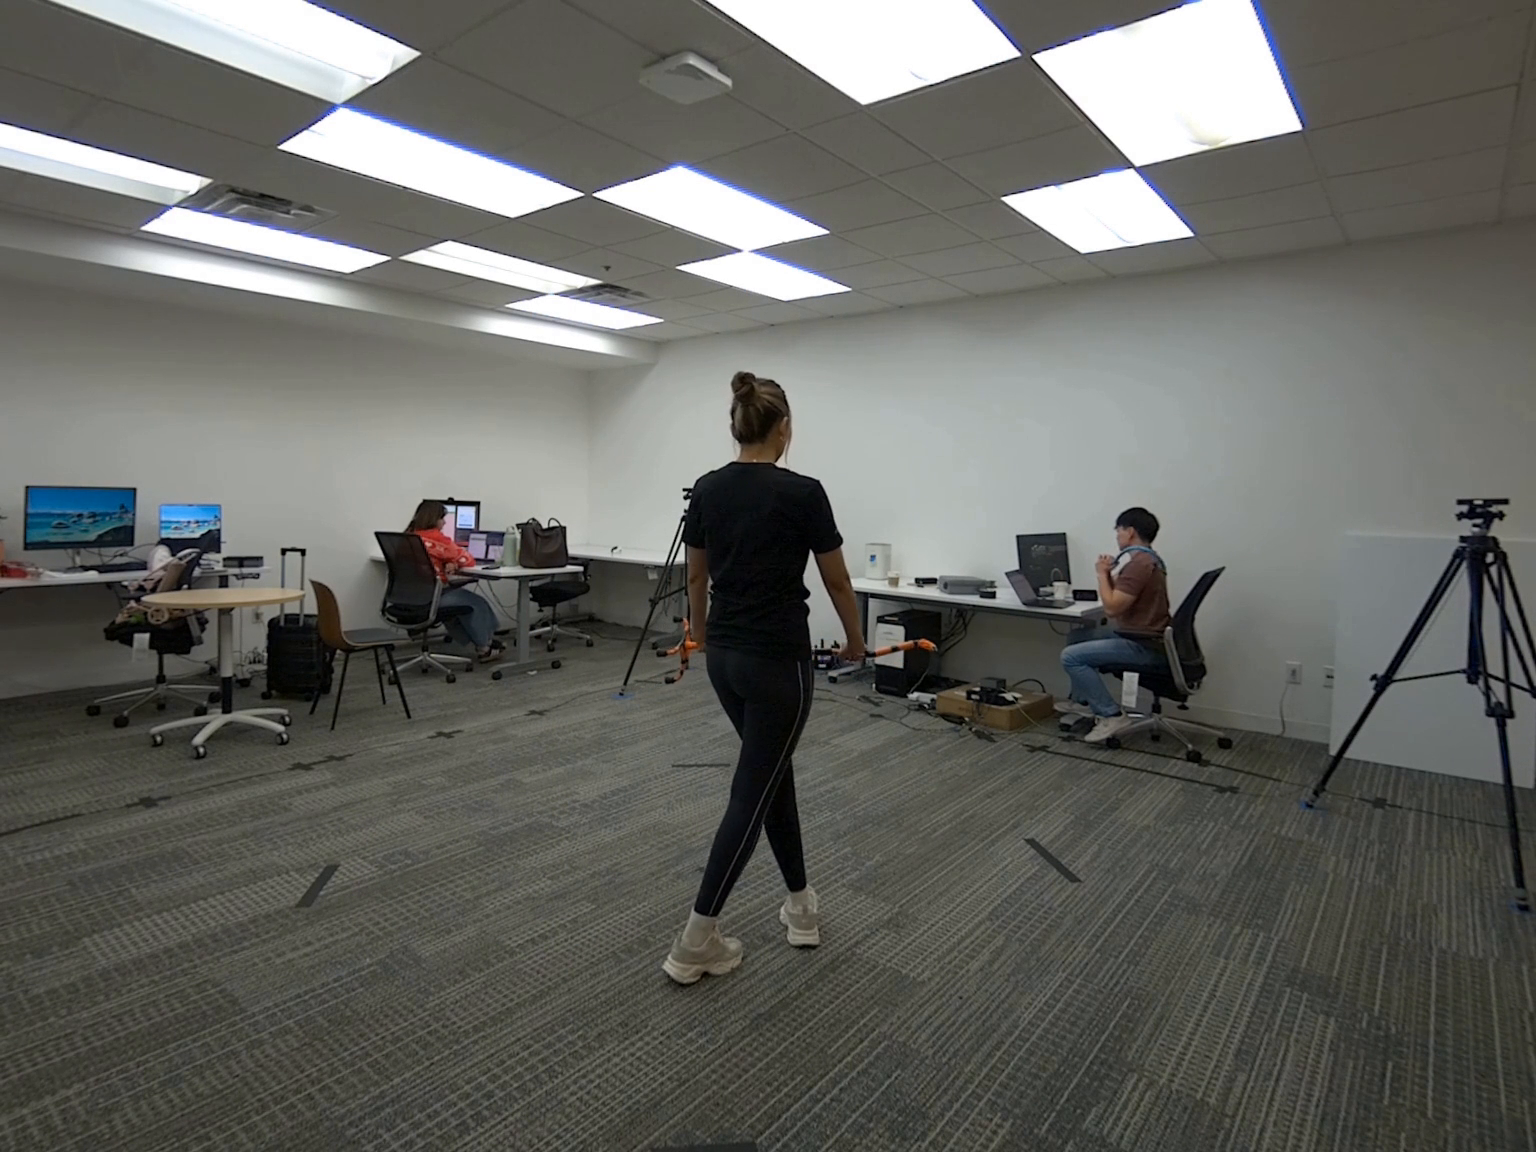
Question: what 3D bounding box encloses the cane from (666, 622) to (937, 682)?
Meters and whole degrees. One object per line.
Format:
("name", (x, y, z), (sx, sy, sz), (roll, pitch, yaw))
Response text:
("cane", (0.093, 0.251, 2.783), (0.927, 0.146, 0.209), (0, 38, 20))
